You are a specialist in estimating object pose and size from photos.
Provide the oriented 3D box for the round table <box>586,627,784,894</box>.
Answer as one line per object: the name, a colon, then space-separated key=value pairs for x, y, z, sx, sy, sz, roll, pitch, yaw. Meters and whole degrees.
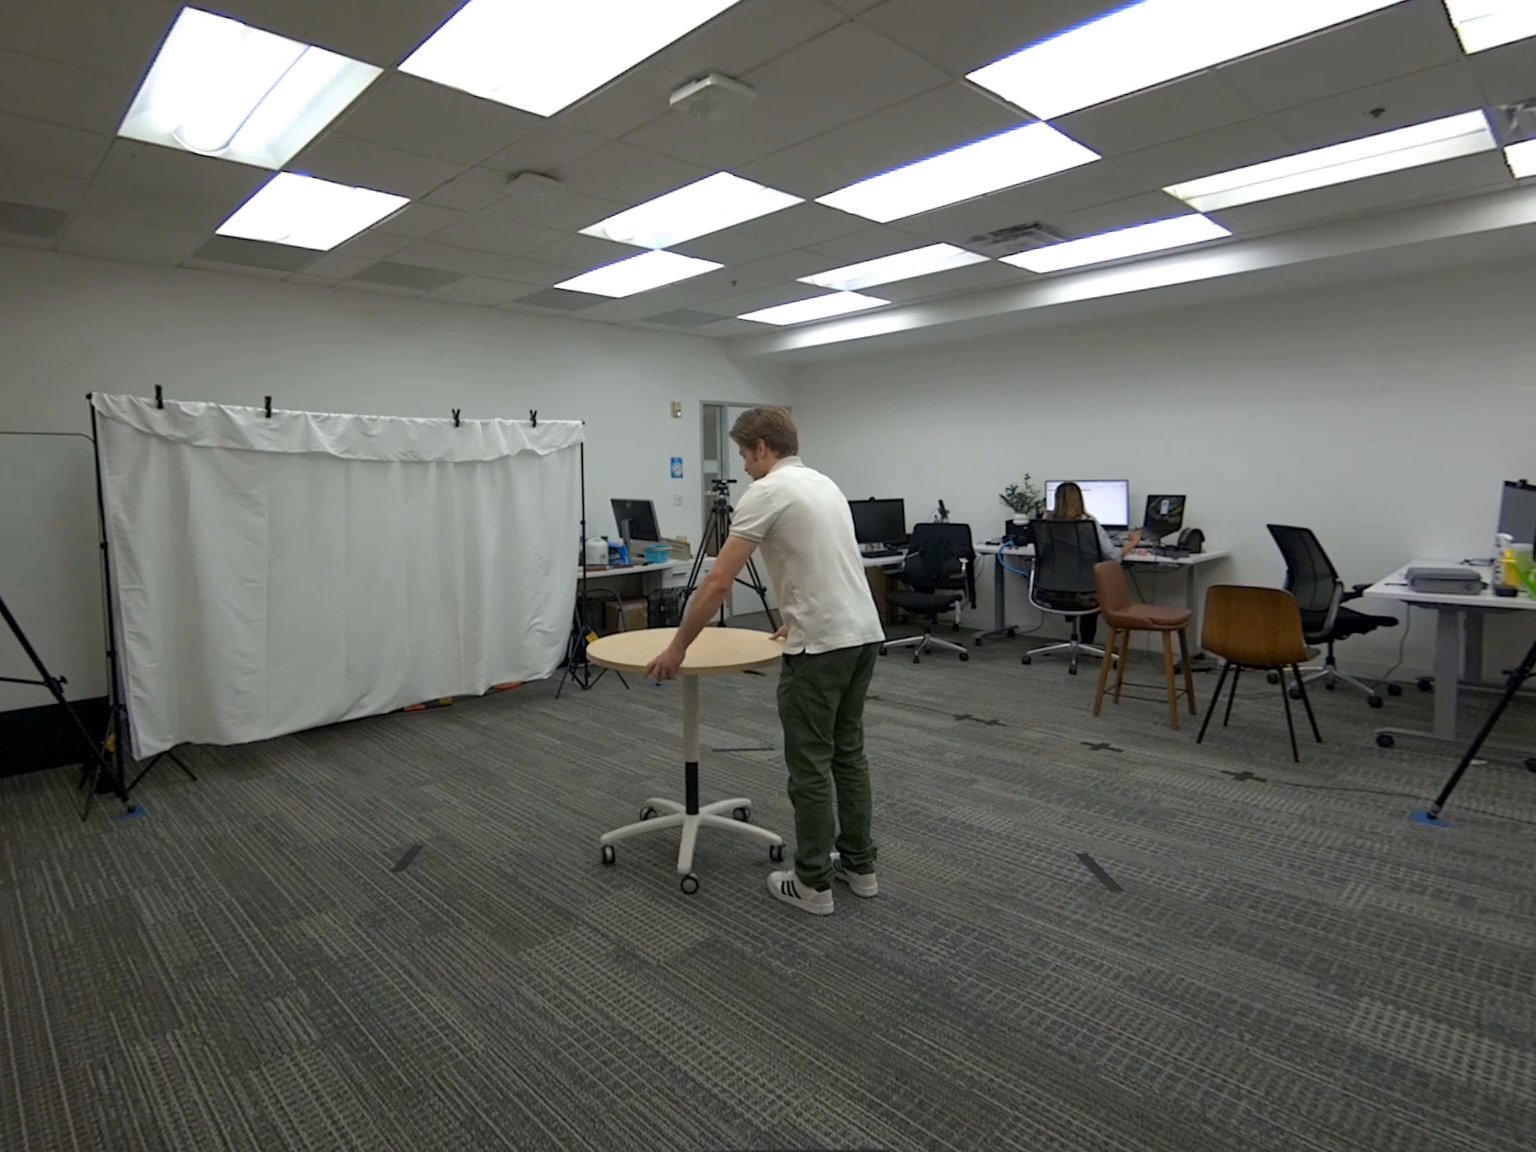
round table: x=-0.289 y=0.650 z=3.222 sx=0.763 sy=0.791 sz=0.768 roll=-1 pitch=5 yaw=-2
